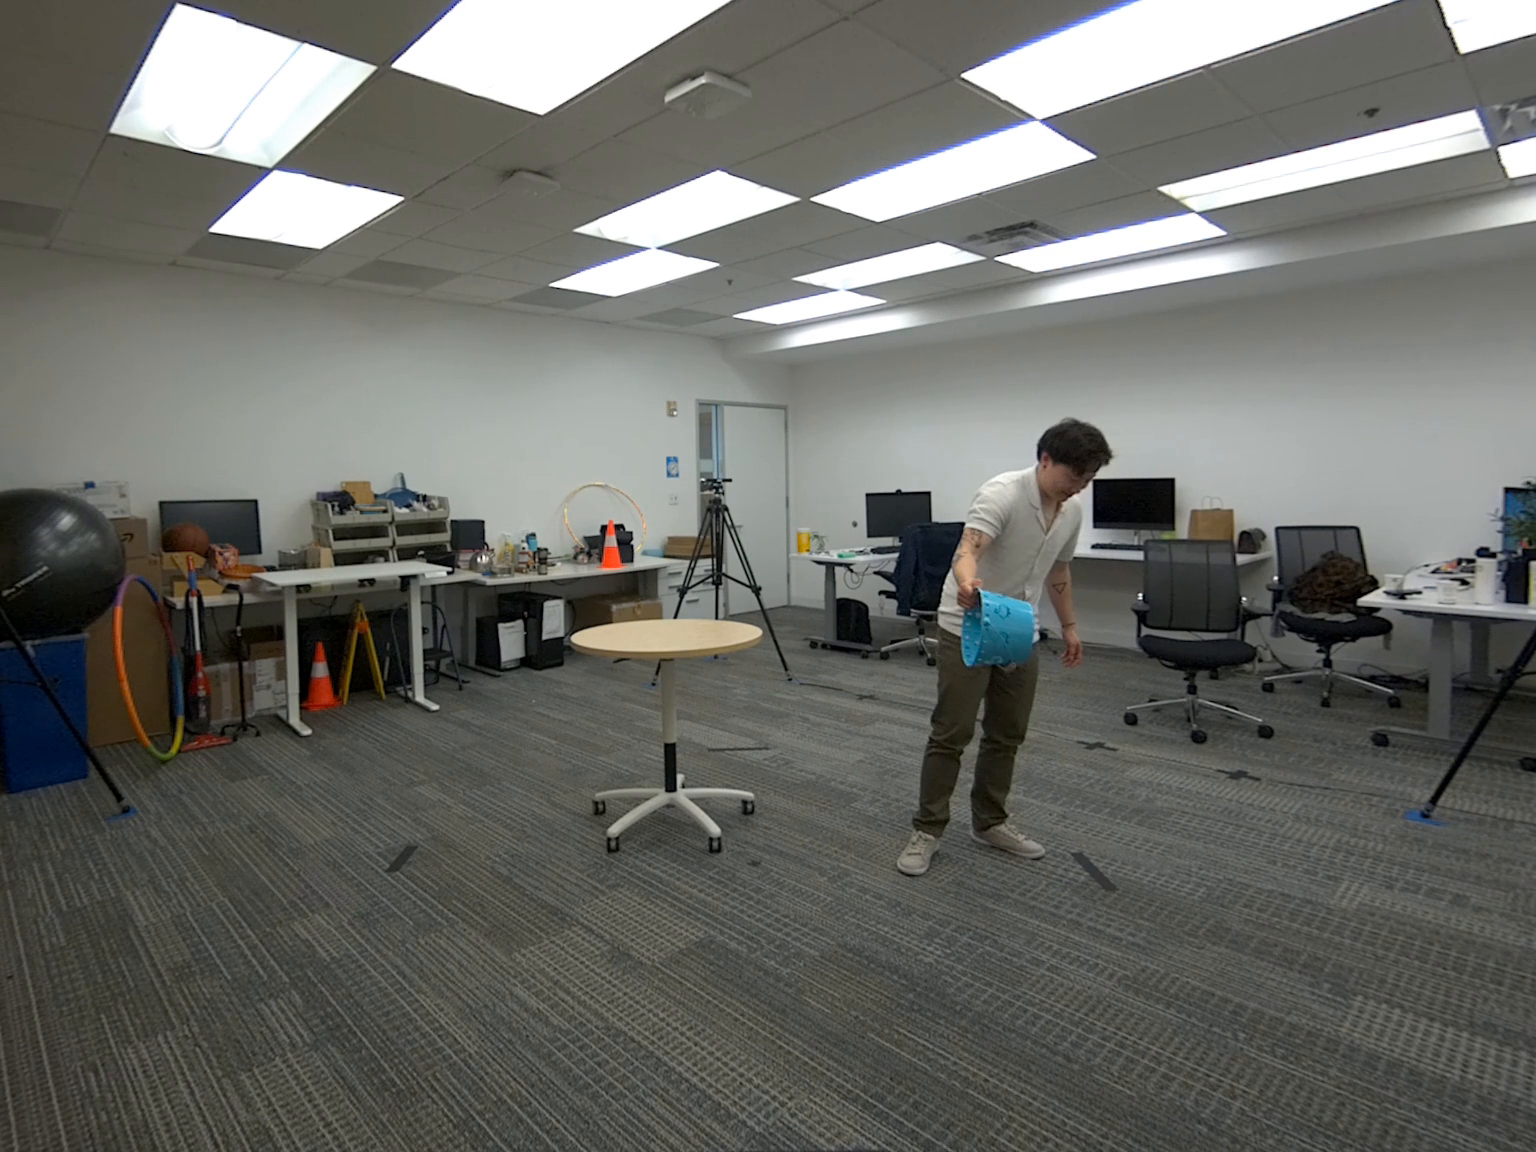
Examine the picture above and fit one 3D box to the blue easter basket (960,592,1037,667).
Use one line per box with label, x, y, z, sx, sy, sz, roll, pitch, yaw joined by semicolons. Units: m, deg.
blue easter basket;0.664;0.175;2.504;0.156;0.243;0.245;7;5;-2
